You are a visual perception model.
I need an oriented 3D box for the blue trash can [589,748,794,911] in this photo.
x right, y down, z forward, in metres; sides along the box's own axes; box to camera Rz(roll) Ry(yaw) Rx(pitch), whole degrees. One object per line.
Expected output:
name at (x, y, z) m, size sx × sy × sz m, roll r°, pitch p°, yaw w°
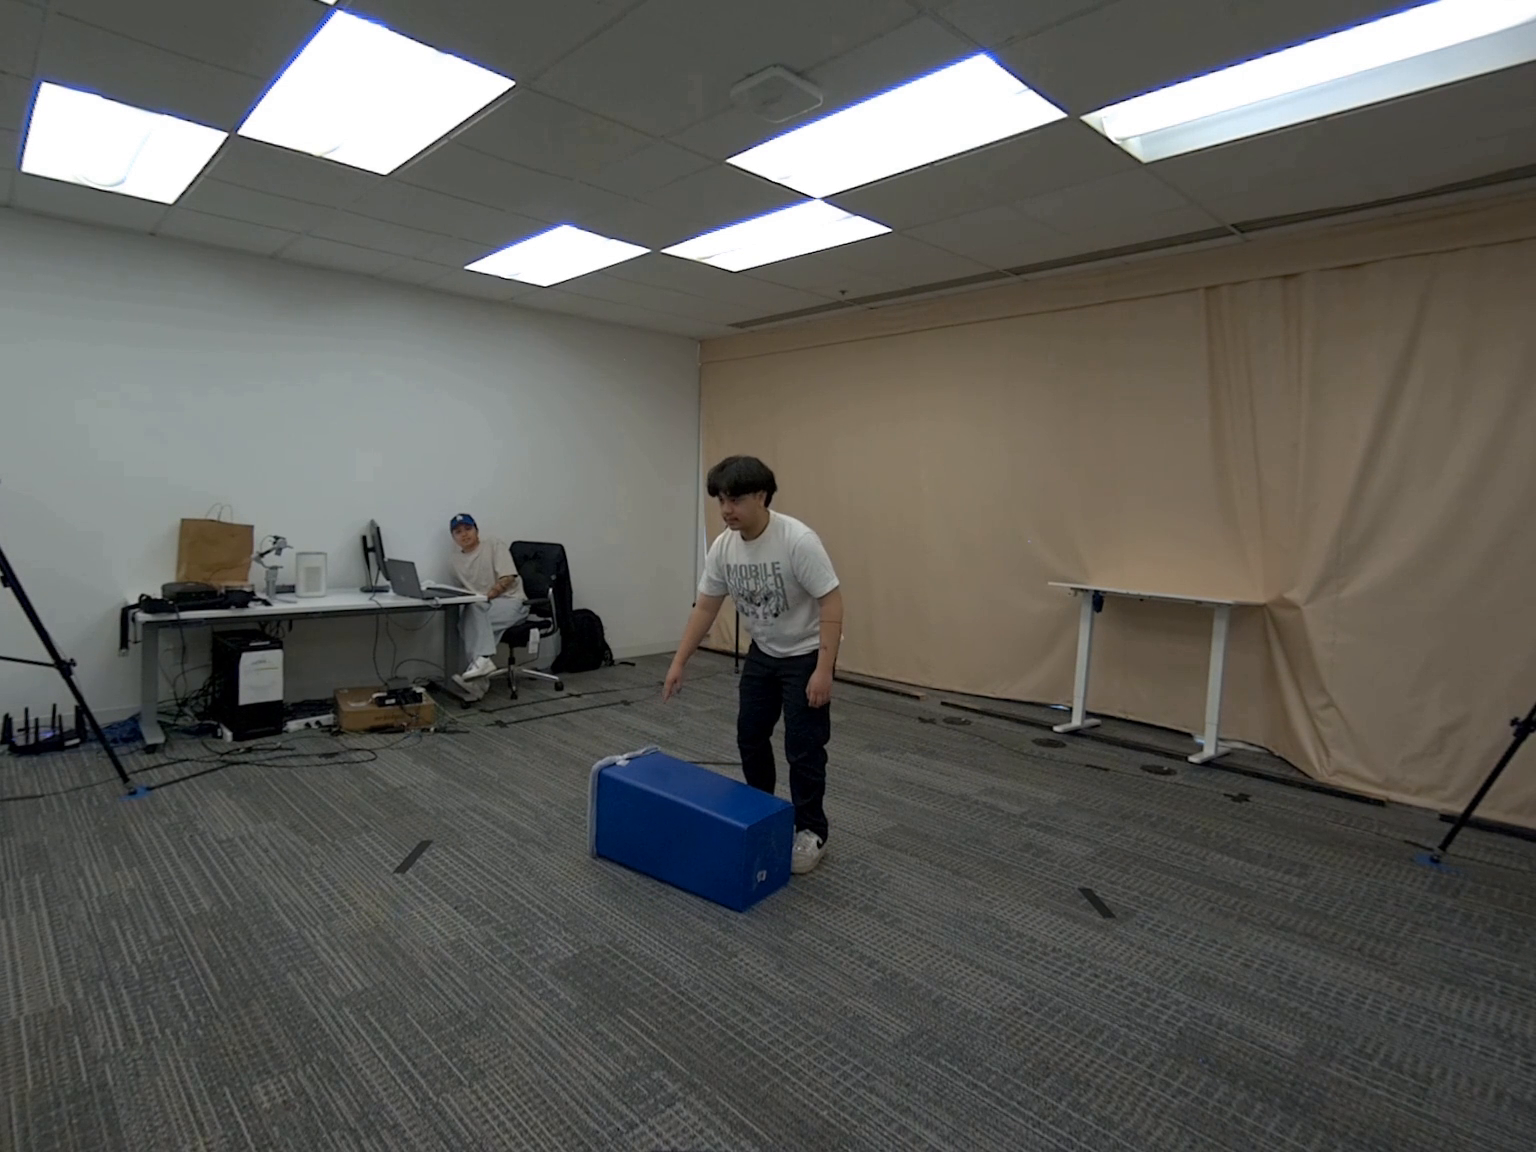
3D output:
blue trash can at (-0.298, 0.939, 3.138) m, size 0.732 × 0.373 × 0.370 m, roll 9°, pitch 7°, yaw 37°
